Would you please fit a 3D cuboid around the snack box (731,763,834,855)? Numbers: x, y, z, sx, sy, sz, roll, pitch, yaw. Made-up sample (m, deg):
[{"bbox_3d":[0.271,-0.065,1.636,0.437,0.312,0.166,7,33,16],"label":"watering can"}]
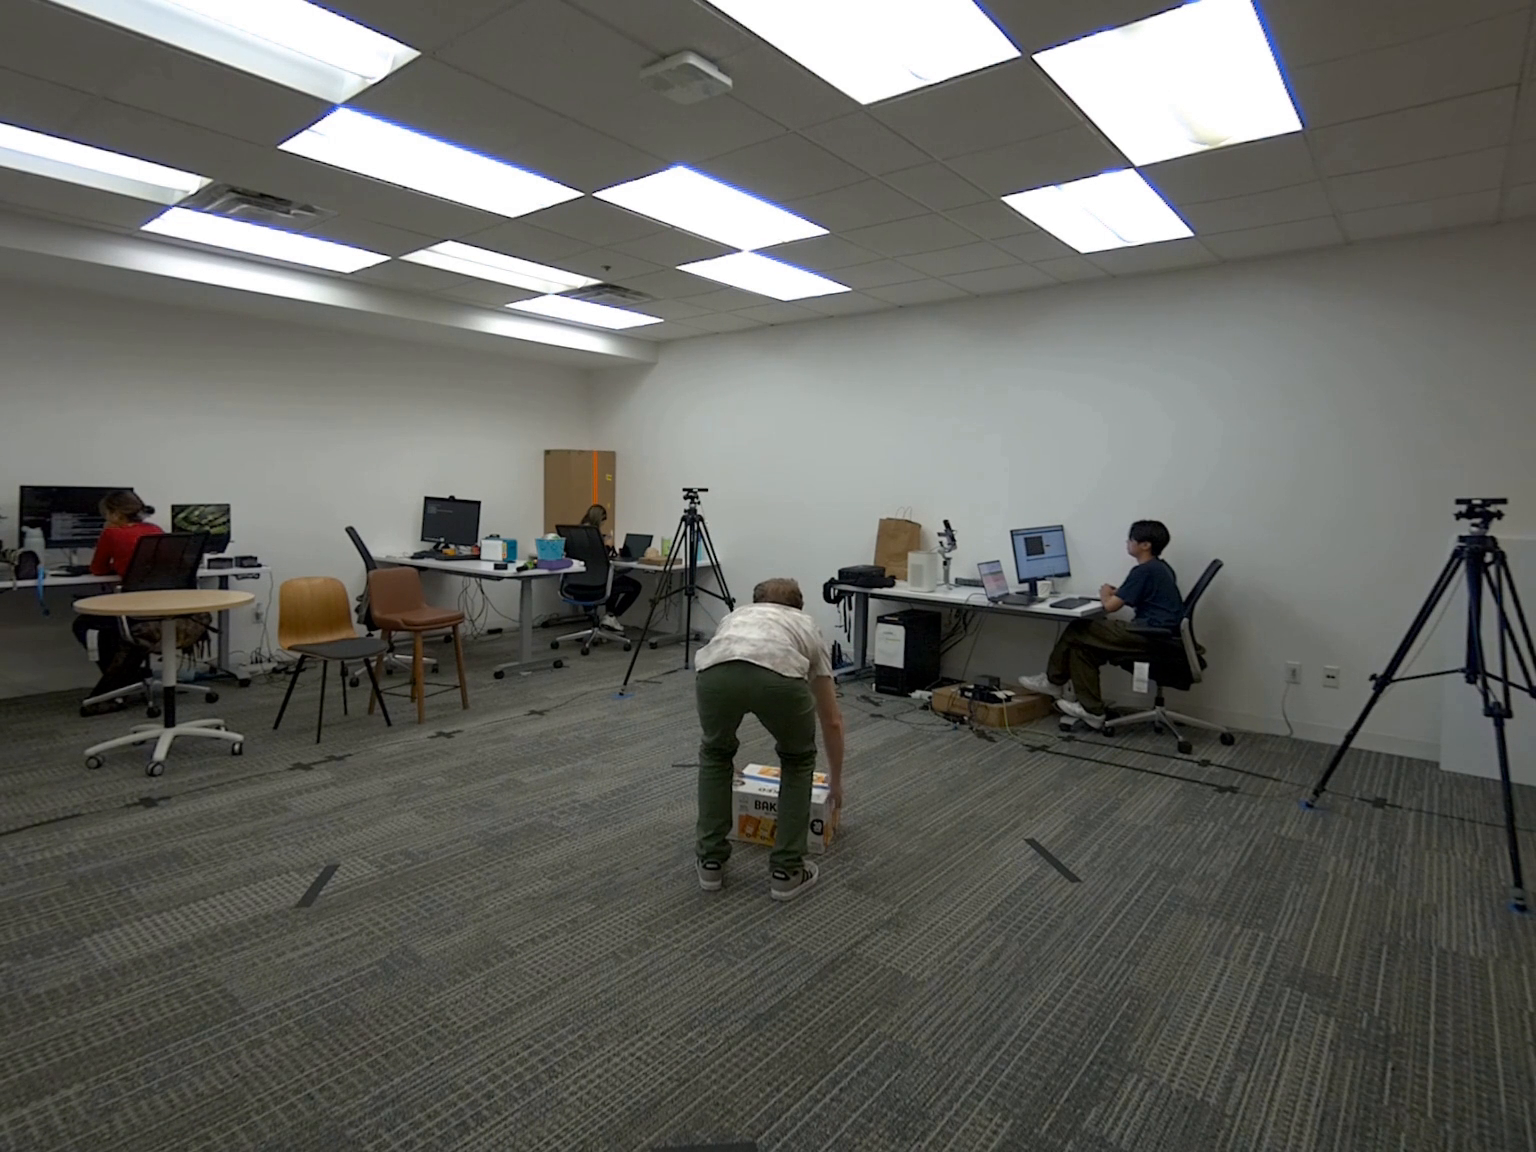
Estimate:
[{"bbox_3d":[0.055,0.940,3.474,0.413,0.205,0.335,3,5,17],"label":"snack box"}]
